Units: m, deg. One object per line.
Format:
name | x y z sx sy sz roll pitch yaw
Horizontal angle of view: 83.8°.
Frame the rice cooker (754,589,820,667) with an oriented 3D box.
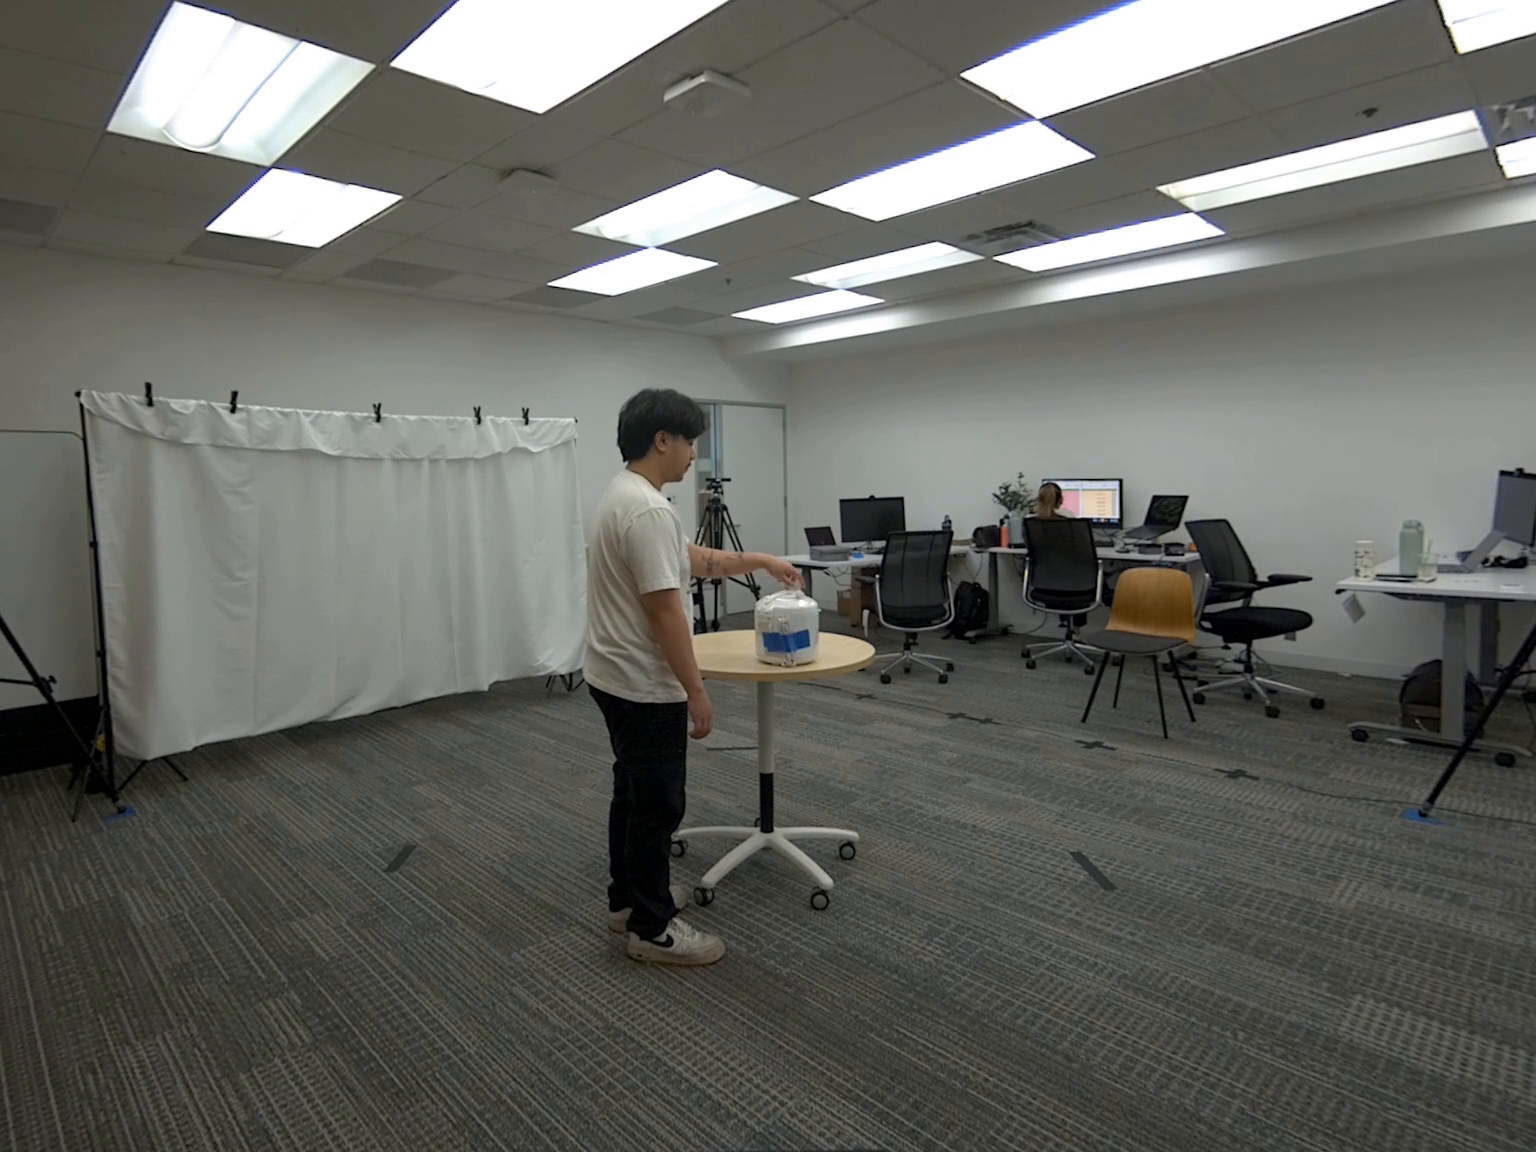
rice cooker | 0.063 0.160 2.788 0.215 0.232 0.224 -4 6 -43
